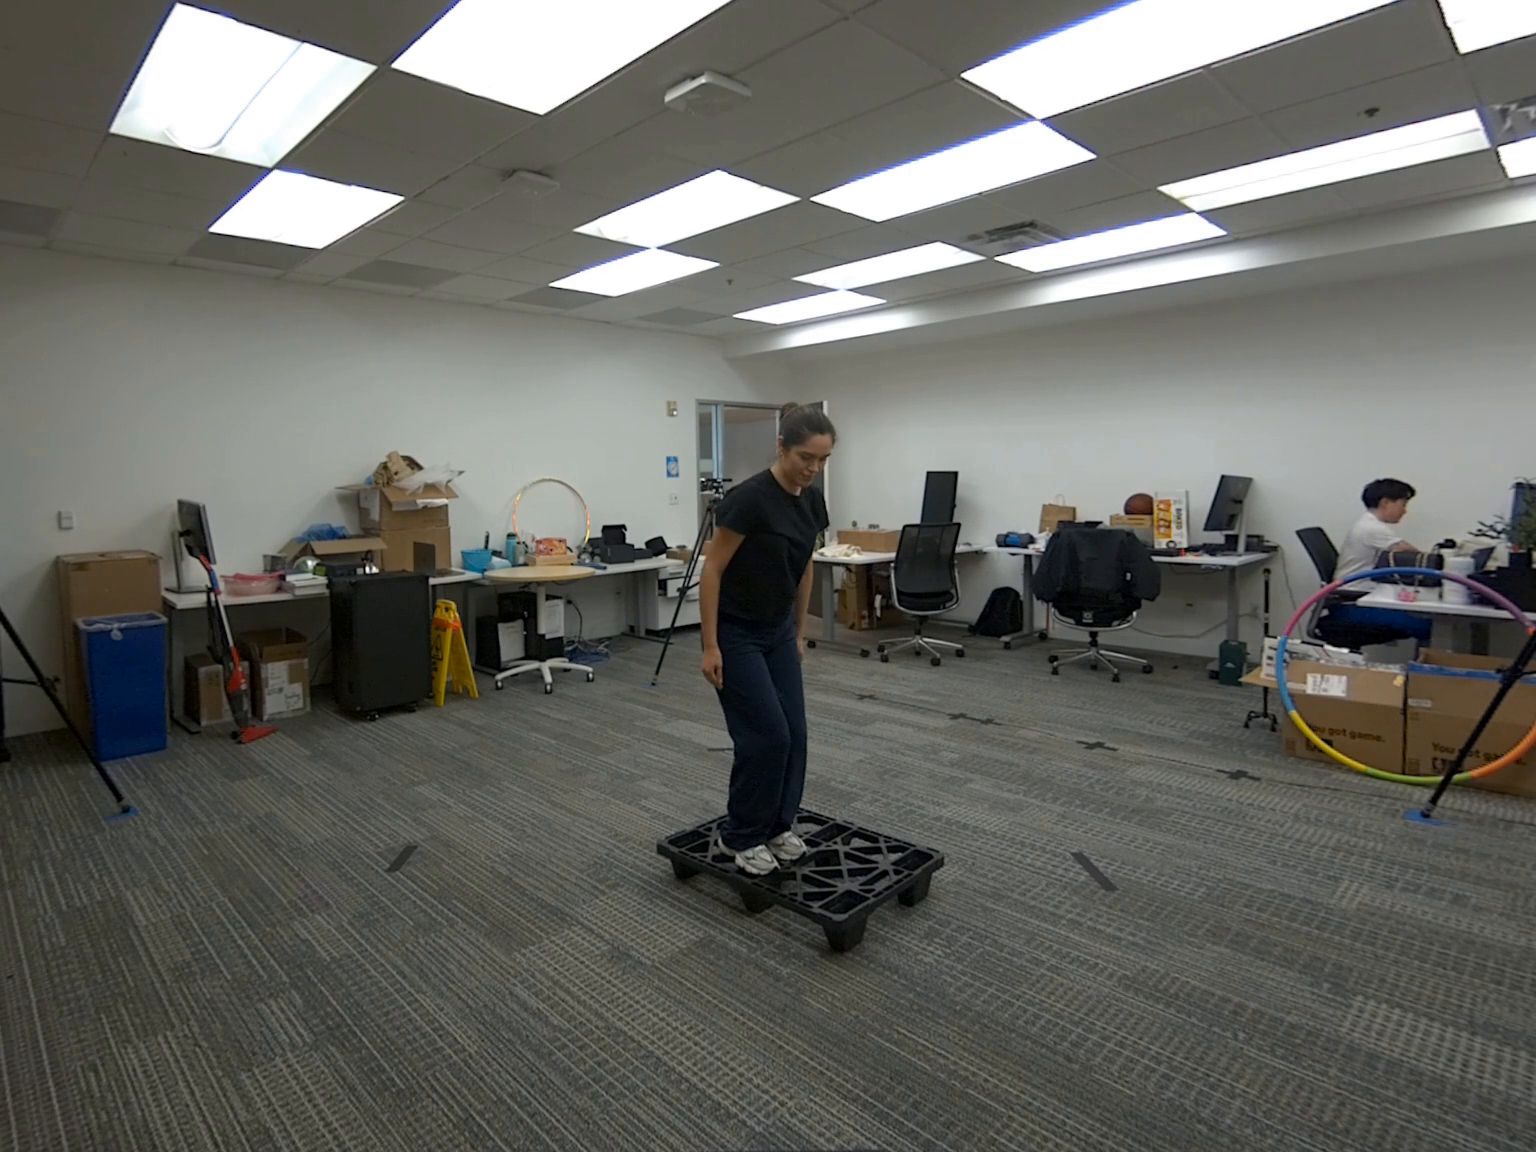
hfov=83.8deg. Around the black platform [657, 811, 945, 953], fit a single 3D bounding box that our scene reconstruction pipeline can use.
[{"bbox_3d":[0.097,0.995,2.928,0.830,0.142,0.589,5,9,43],"label":"black platform"}]
